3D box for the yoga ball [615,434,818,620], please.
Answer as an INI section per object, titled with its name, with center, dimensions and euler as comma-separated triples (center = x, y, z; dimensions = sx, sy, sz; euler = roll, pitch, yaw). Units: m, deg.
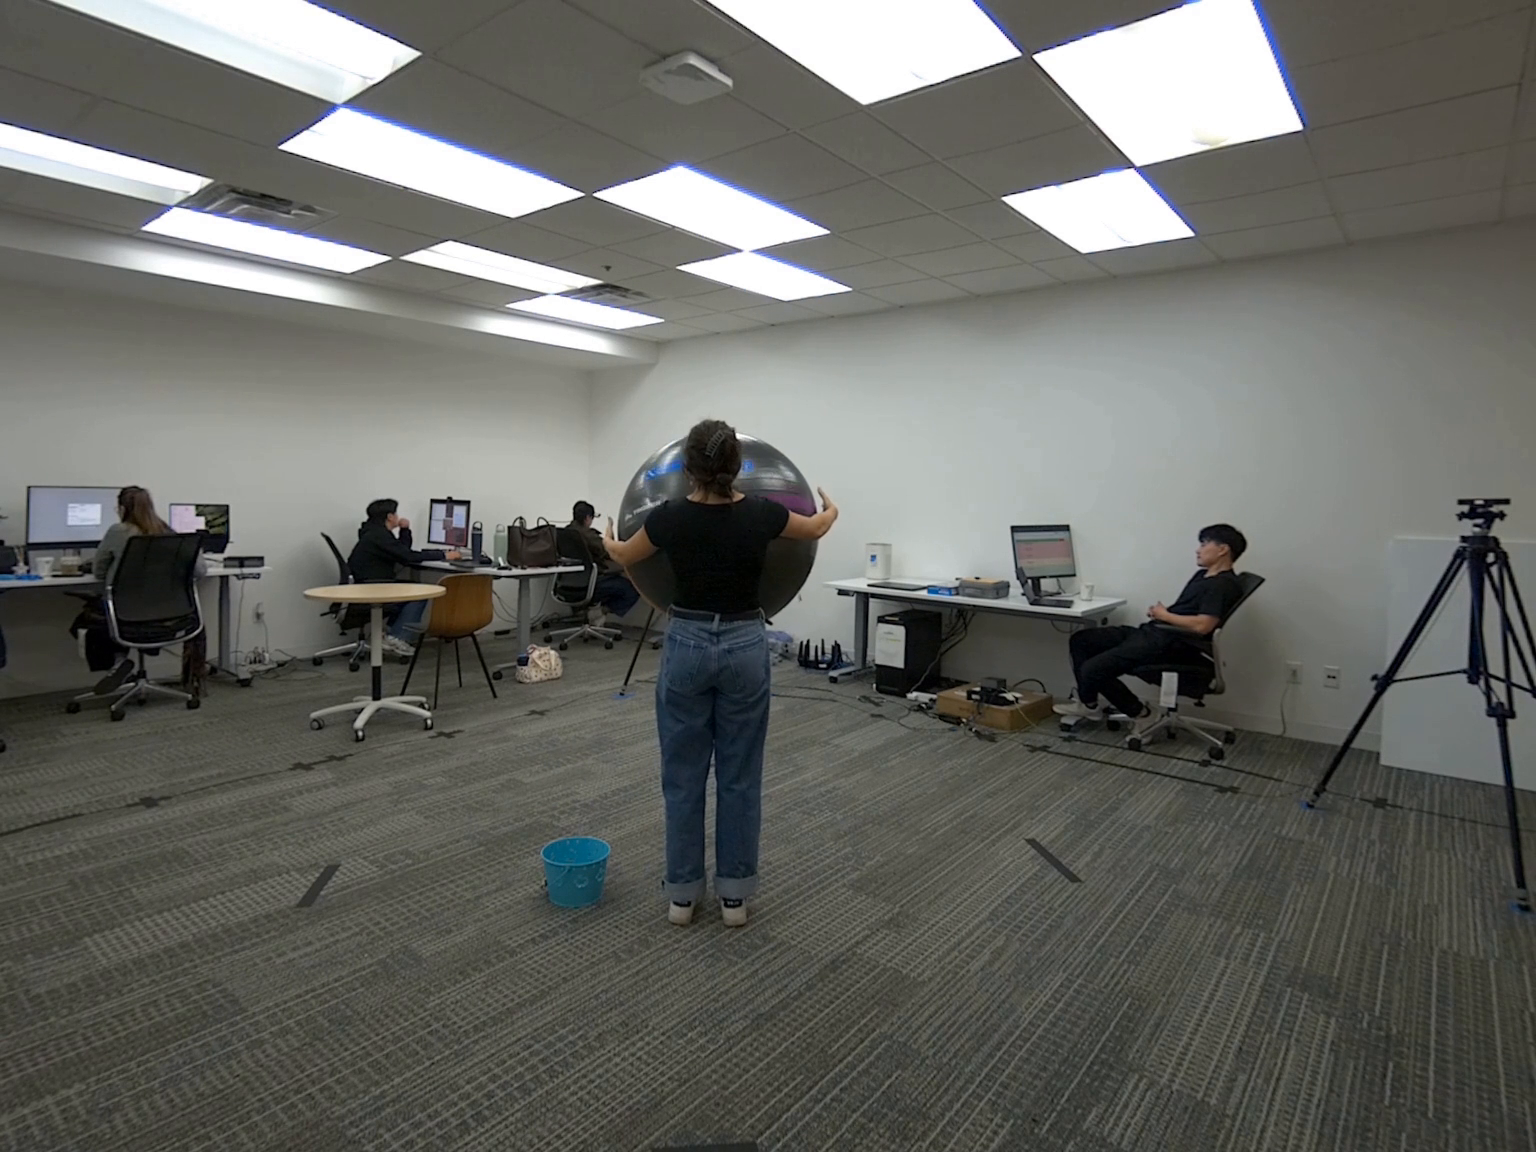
[yoga ball]
center = -0.193, -0.176, 3.227
dimensions = 0.757, 0.755, 0.762
euler = 1, 4, -2
